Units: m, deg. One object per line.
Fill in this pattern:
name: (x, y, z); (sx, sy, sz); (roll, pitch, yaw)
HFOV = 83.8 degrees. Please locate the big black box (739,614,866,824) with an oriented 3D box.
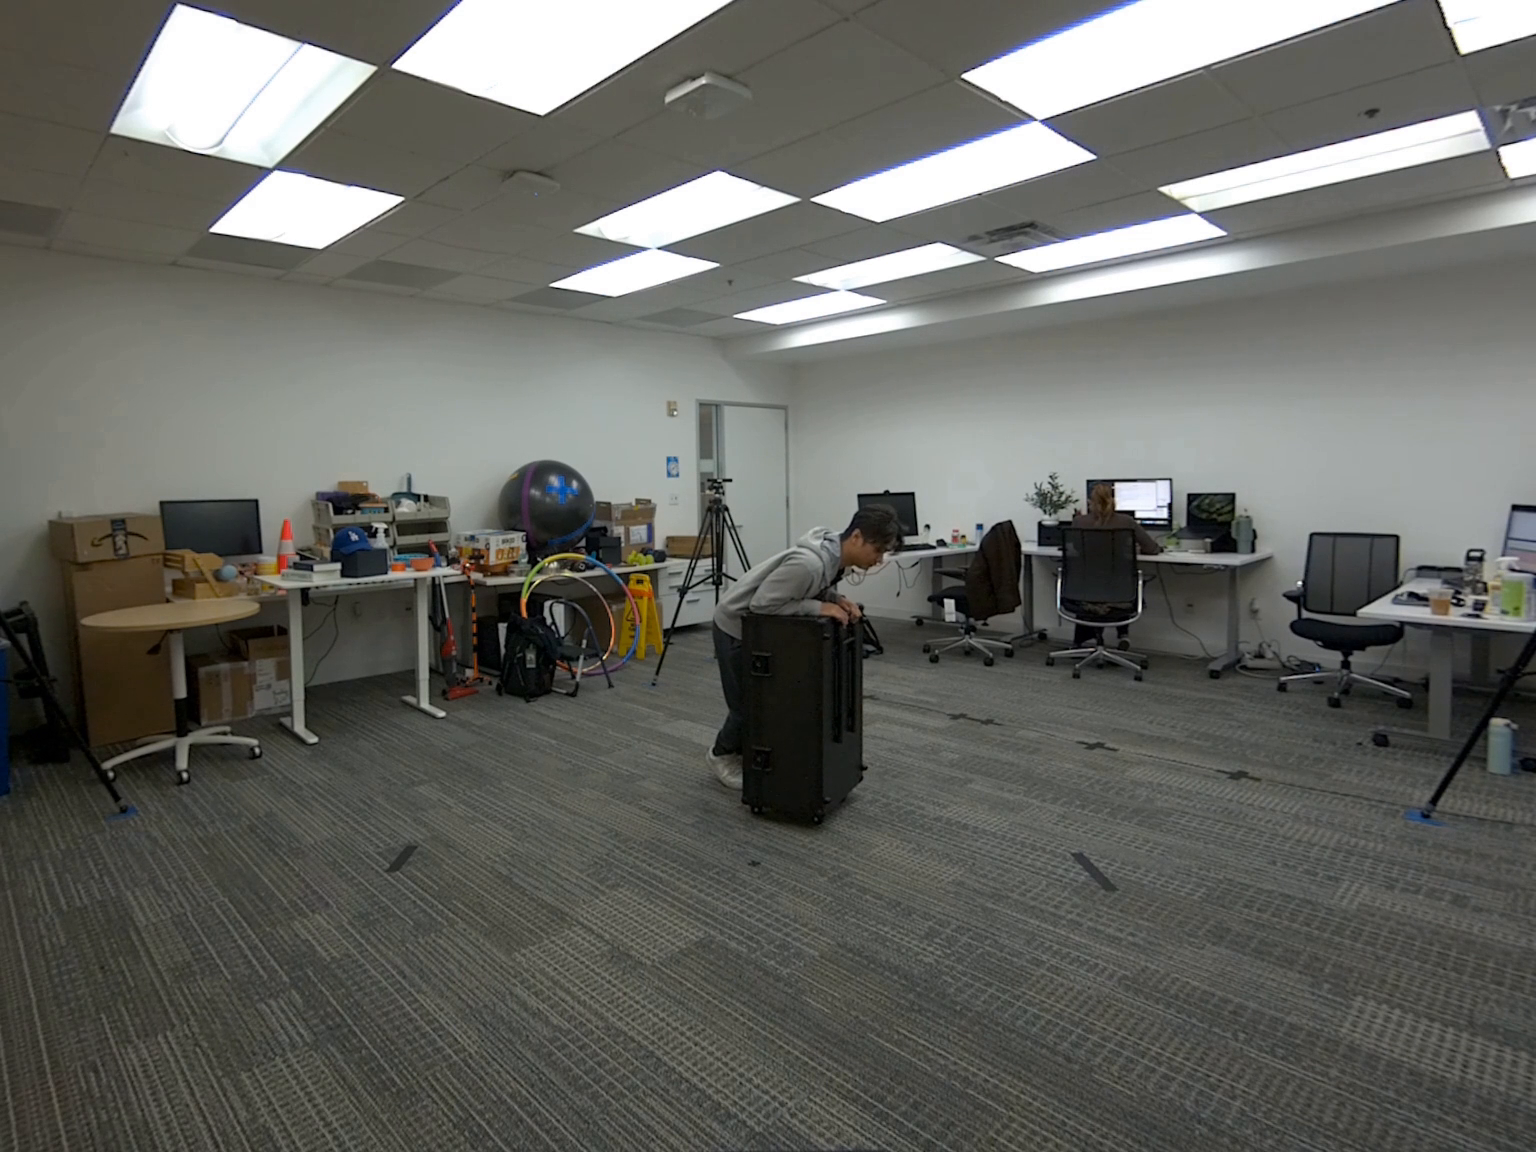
big black box: (0.165, 0.567, 3.602); (0.406, 0.858, 0.510); (2, 5, 27)
